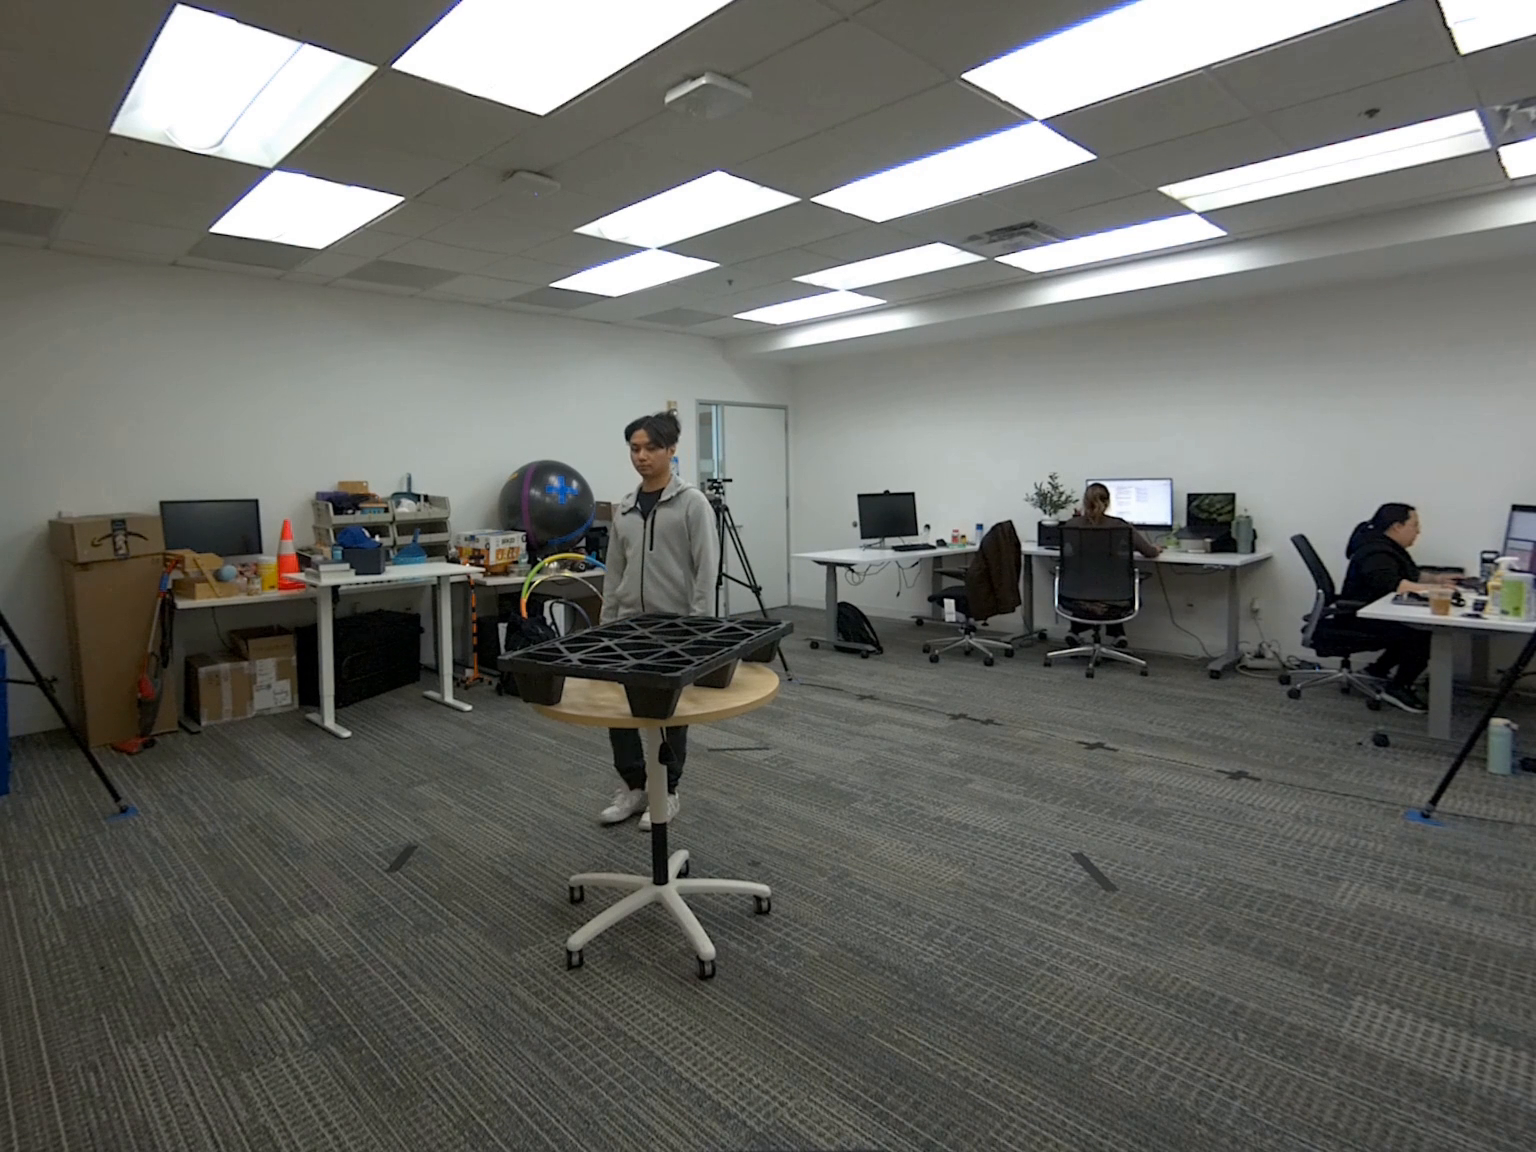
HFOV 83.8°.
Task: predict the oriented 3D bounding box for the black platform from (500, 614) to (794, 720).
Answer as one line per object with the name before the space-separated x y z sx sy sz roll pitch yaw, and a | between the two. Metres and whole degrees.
black platform | -0.360 0.259 2.642 0.619 0.142 0.791 1 7 25
